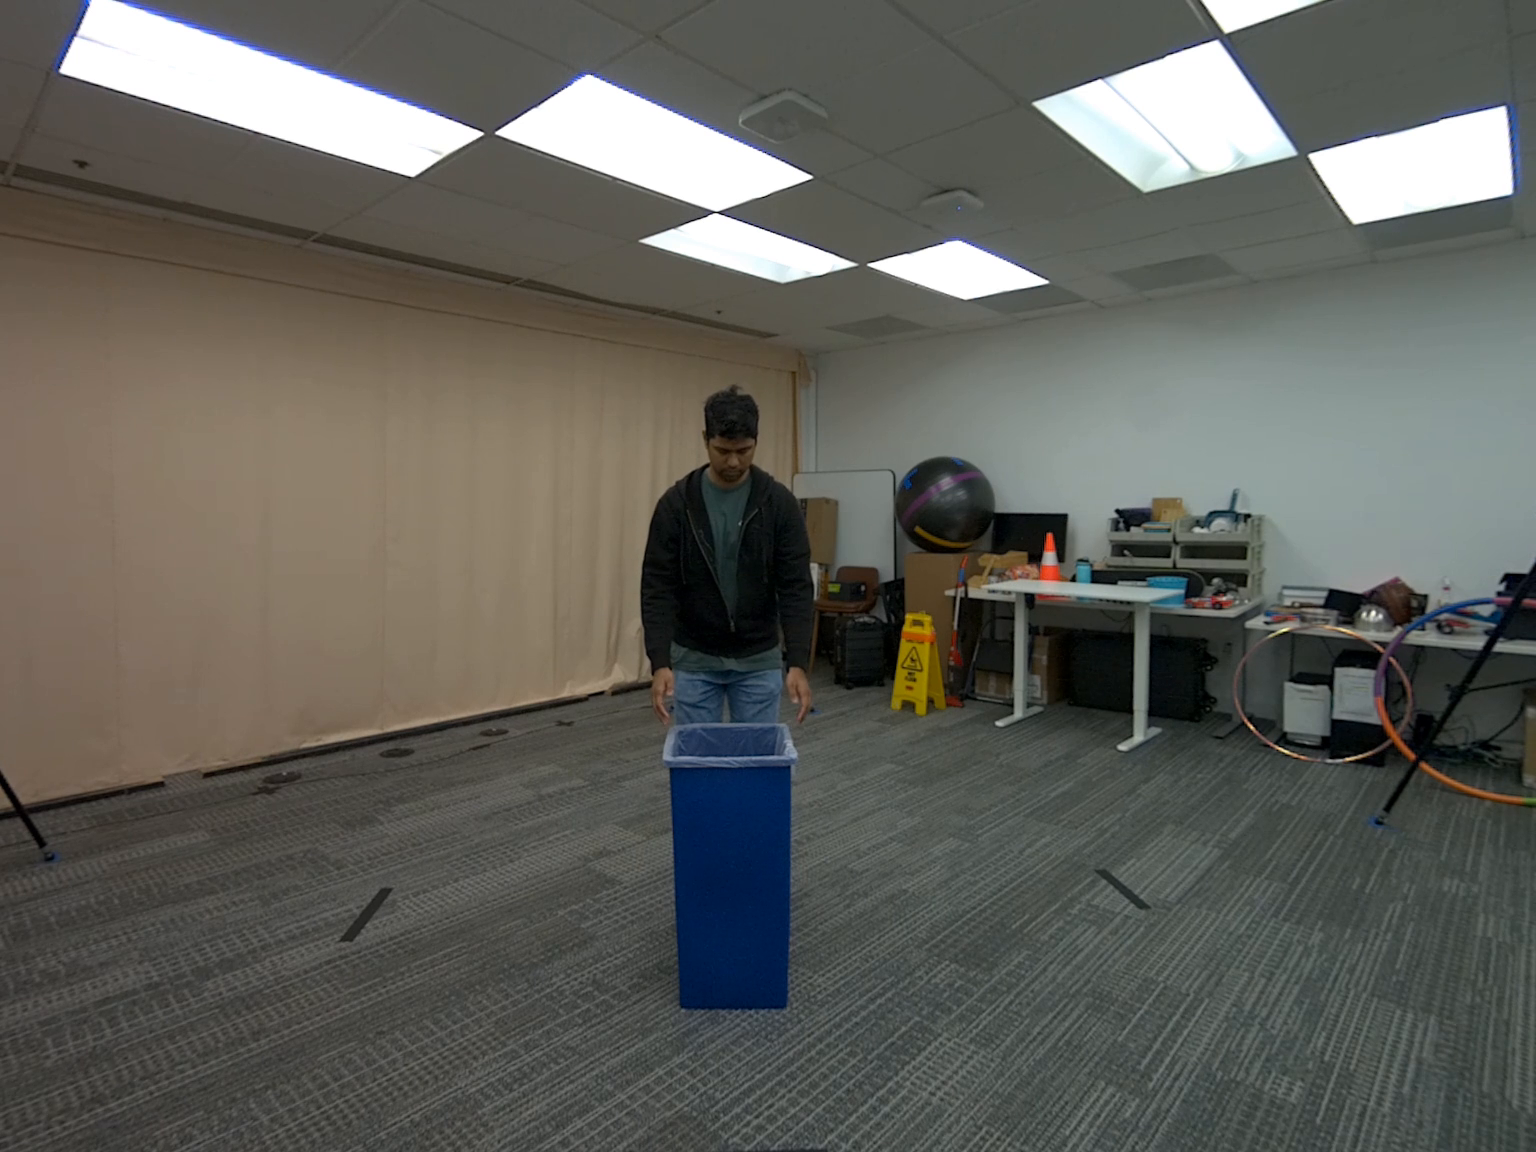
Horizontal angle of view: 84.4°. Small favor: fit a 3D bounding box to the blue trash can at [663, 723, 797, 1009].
[{"bbox_3d":[-0.109,0.832,2.461,0.374,0.712,0.379,0,2,-1],"label":"blue trash can"}]
